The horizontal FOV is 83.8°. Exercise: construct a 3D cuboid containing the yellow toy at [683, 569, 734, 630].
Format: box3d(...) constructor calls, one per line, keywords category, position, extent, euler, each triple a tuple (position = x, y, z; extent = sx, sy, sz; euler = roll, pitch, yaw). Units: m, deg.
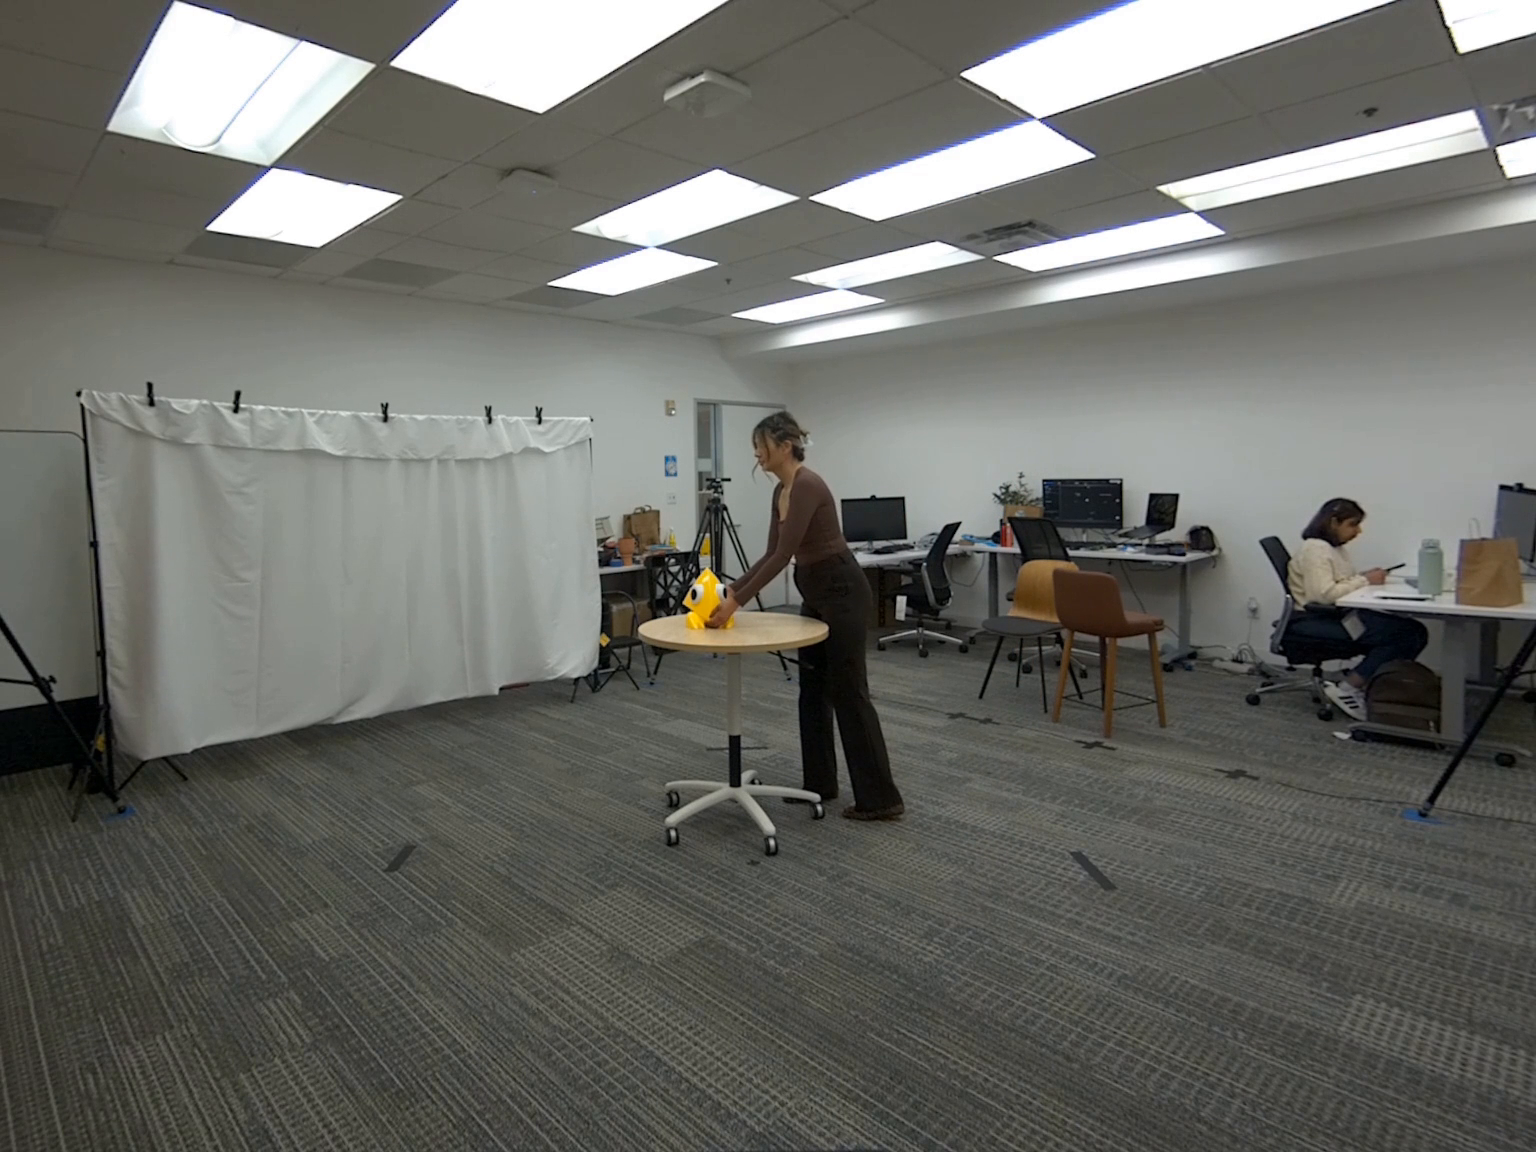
box3d(category="yellow toy", position=(-0.238, 0.085, 3.503), extent=(0.203, 0.230, 0.195), euler=(-1, 5, -8))
